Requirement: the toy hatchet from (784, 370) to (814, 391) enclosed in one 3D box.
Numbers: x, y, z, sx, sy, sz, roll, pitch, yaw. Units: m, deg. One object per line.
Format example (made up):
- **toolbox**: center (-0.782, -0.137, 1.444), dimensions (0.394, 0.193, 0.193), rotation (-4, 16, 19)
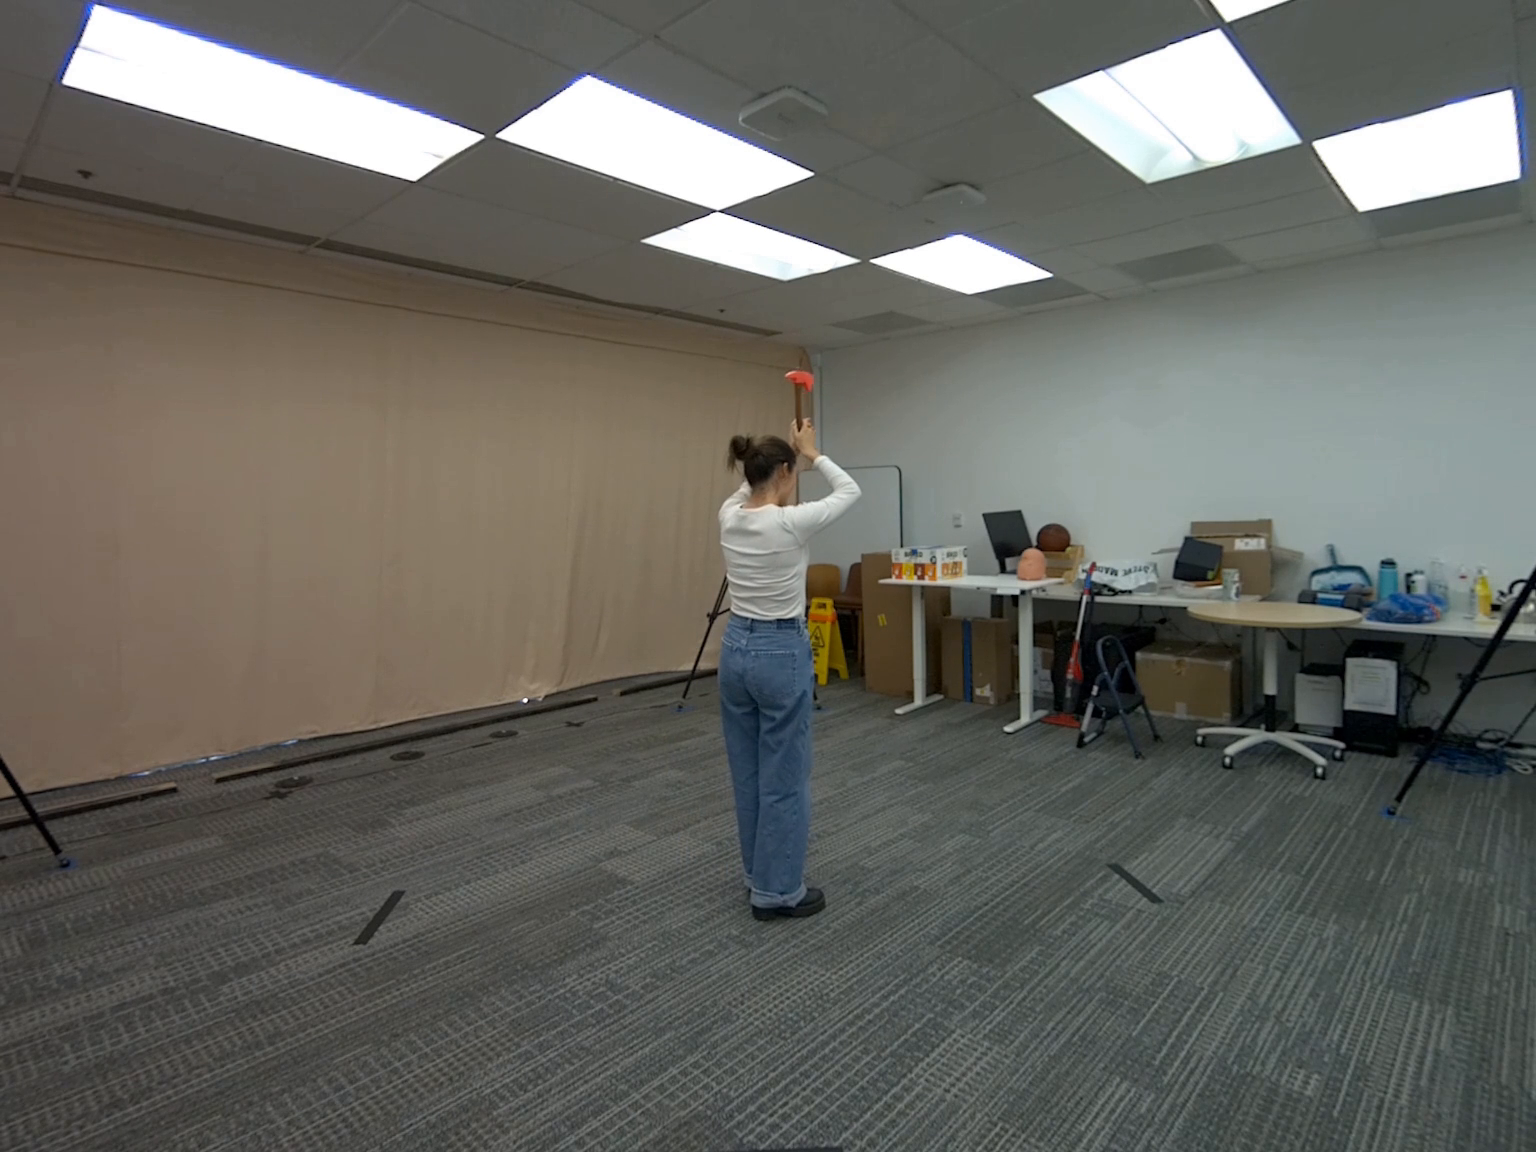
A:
- **toy hatchet**: center (0.139, -0.611, 3.015), dimensions (0.129, 0.266, 0.030), rotation (-30, 24, -35)
